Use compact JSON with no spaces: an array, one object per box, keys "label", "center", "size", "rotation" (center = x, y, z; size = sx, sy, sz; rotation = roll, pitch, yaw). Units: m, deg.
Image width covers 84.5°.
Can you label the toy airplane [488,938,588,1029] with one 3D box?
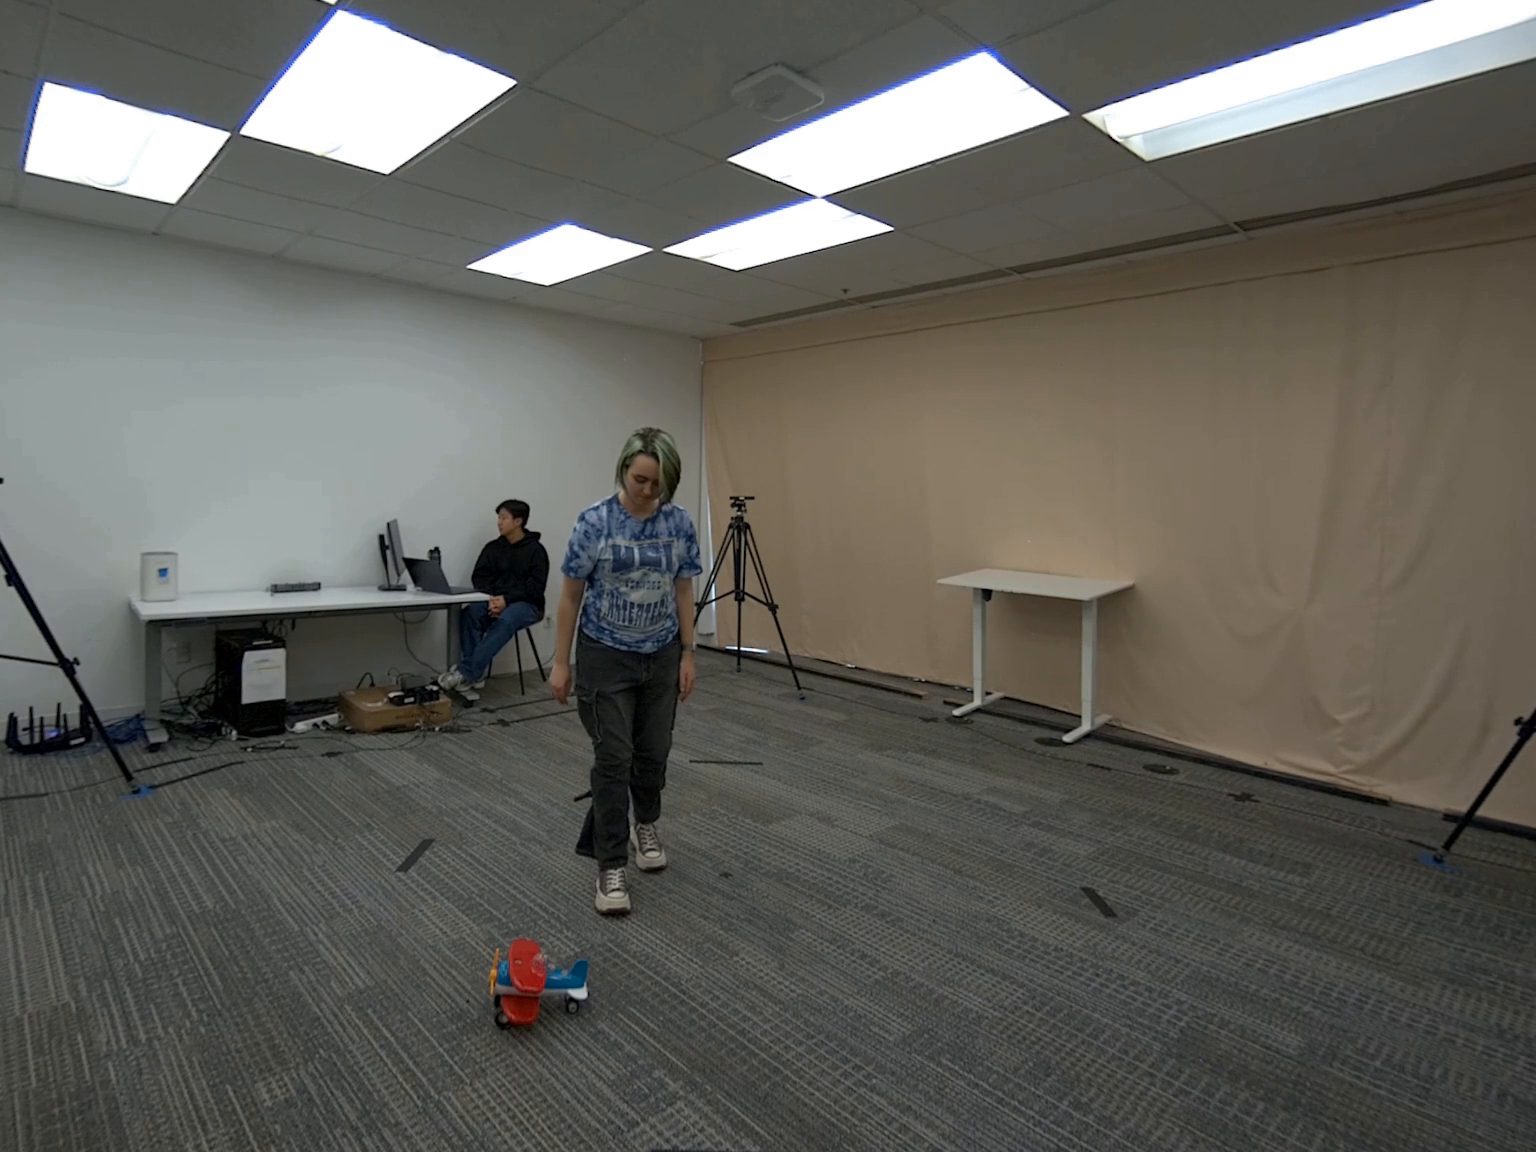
[{"label":"toy airplane","center":[-0.636,1.105,2.258],"size":[0.257,0.156,0.253],"rotation":[6,8,45]}]
